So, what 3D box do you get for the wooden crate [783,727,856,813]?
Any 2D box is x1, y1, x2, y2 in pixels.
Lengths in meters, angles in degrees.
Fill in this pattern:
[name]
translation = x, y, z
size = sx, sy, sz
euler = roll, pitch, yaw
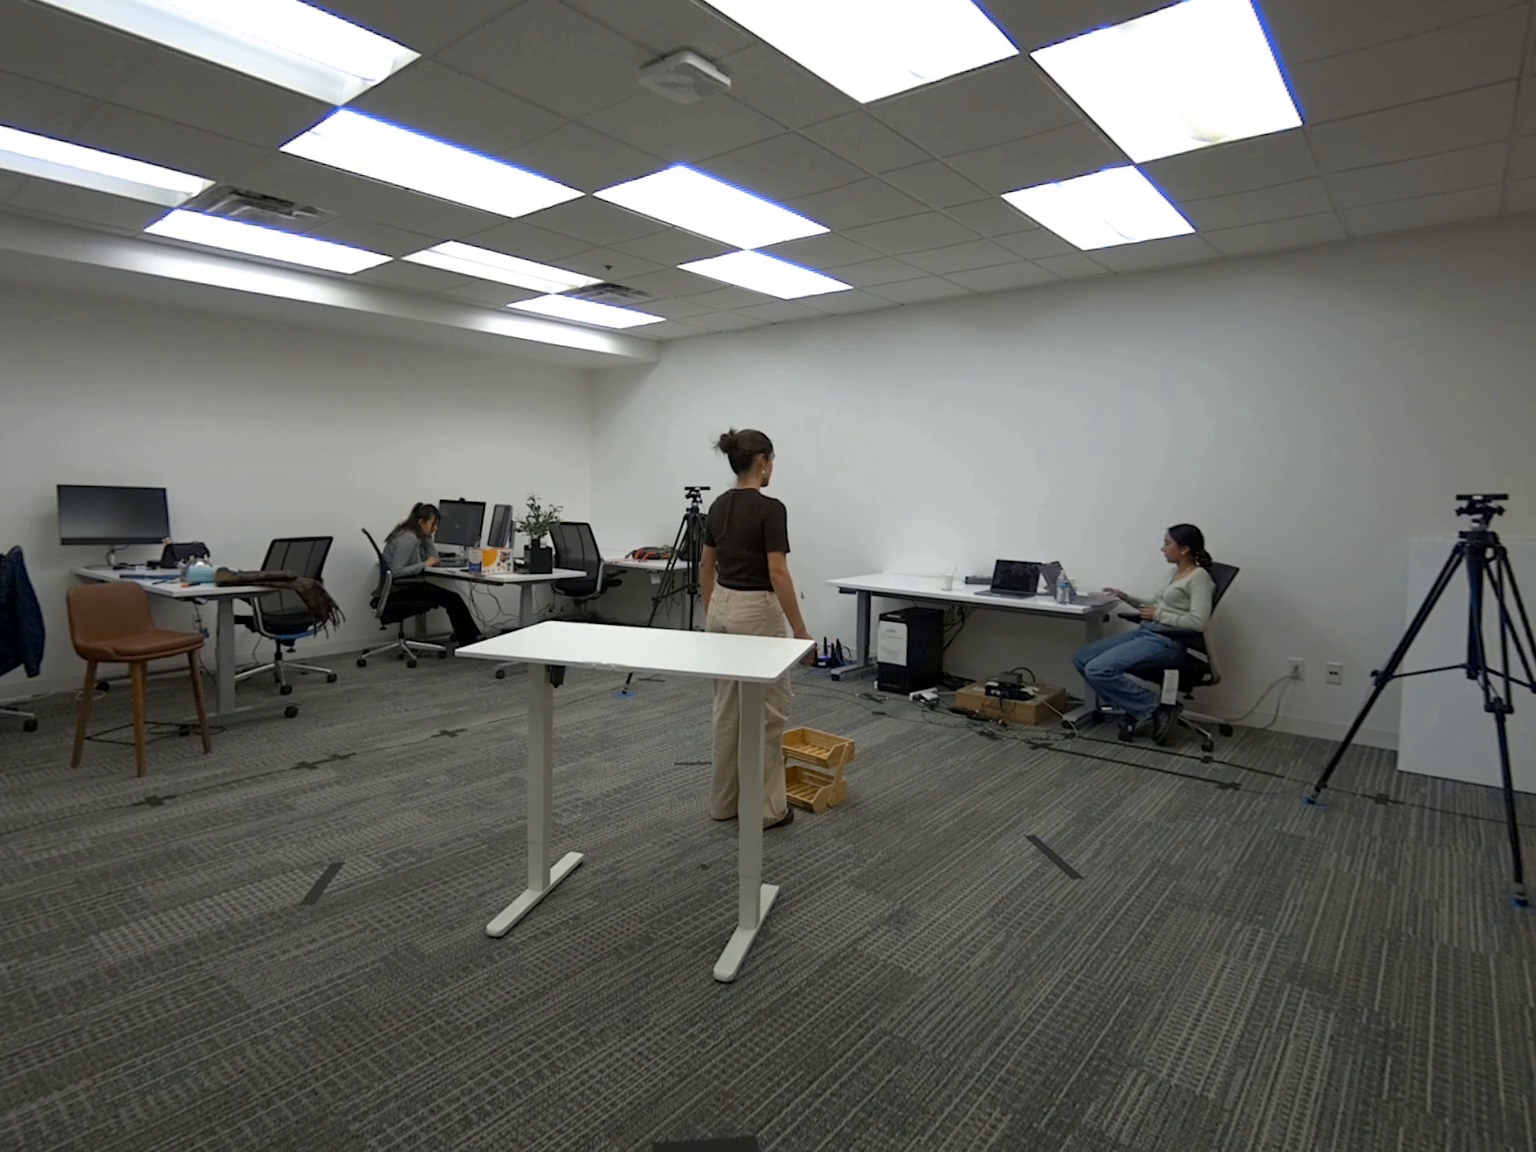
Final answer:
[wooden crate]
translation = 0.170, 0.861, 3.856
size = 0.335, 0.272, 0.293
euler = 4, 5, 43
